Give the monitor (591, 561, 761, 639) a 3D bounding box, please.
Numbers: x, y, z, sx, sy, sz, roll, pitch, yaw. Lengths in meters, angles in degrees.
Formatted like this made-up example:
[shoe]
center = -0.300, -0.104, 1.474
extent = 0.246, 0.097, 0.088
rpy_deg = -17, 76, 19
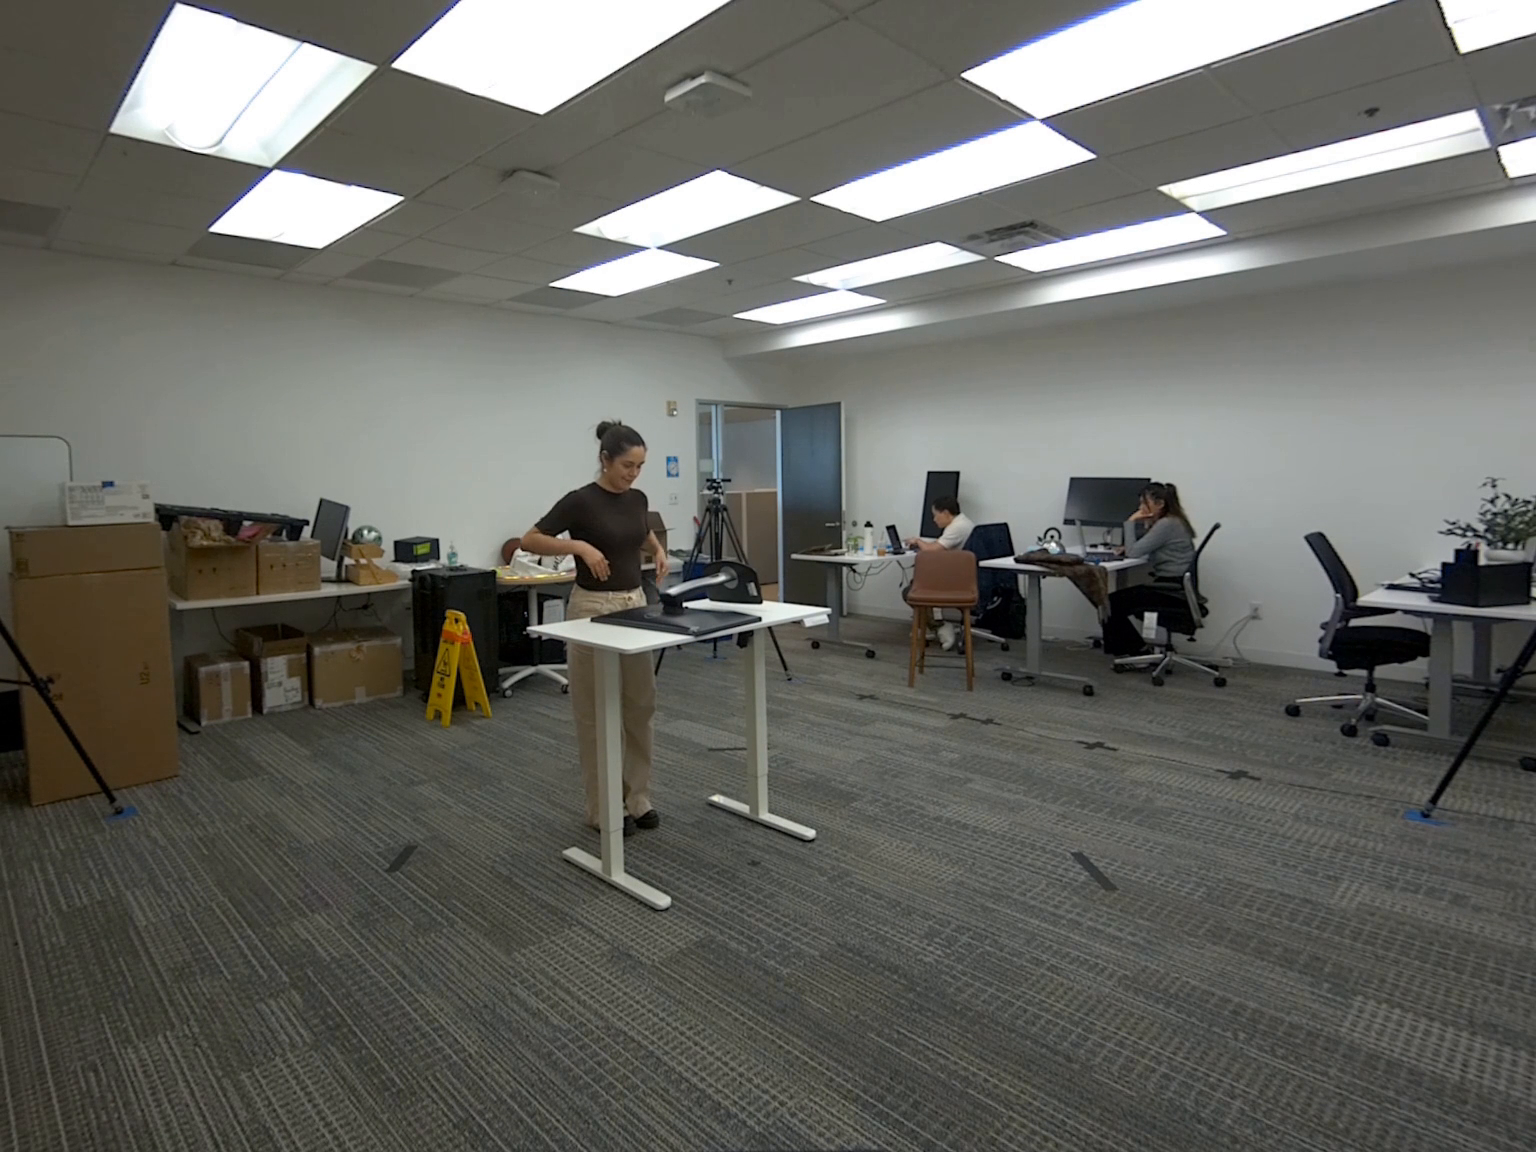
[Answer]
[monitor]
center = -0.286, 0.105, 3.168
extent = 0.555, 0.184, 0.515
rpy_deg = 1, 19, 41
